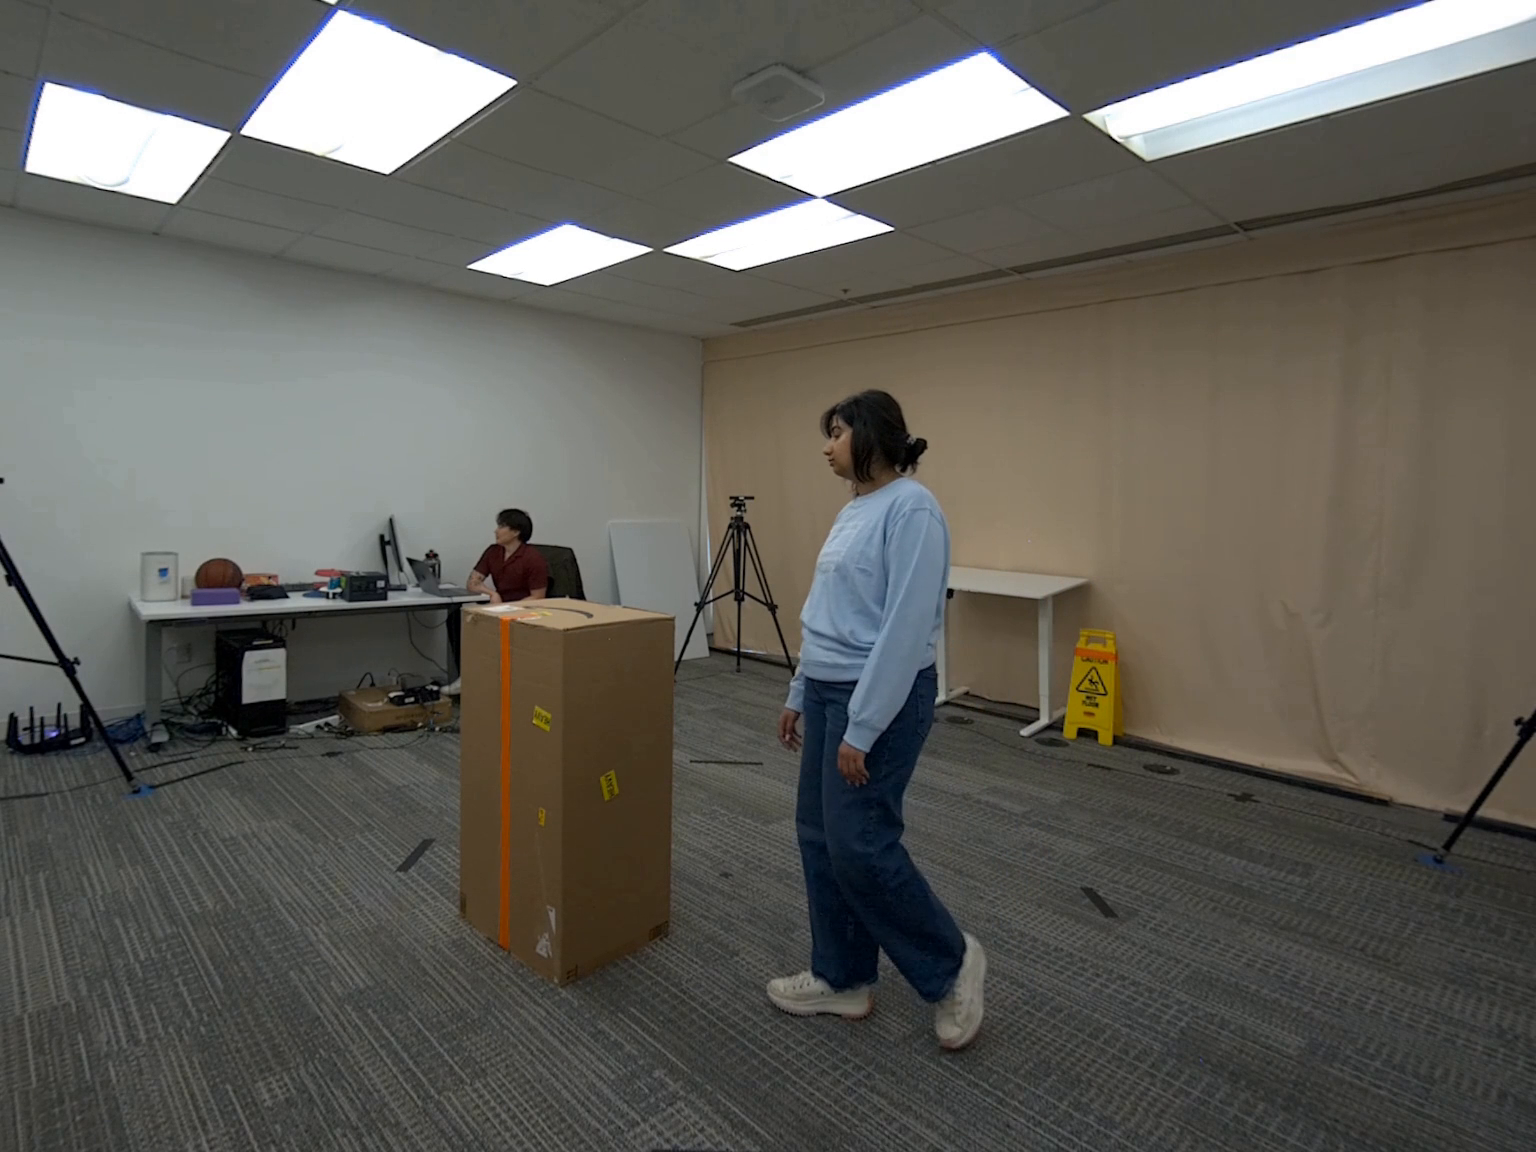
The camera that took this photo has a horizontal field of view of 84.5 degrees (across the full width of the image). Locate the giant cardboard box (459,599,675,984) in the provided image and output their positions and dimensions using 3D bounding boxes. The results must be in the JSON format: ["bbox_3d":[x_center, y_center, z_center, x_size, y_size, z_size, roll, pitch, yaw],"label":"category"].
[{"bbox_3d":[-0.659,0.625,2.689,0.592,1.023,0.416,5,5,43],"label":"giant cardboard box"}]
